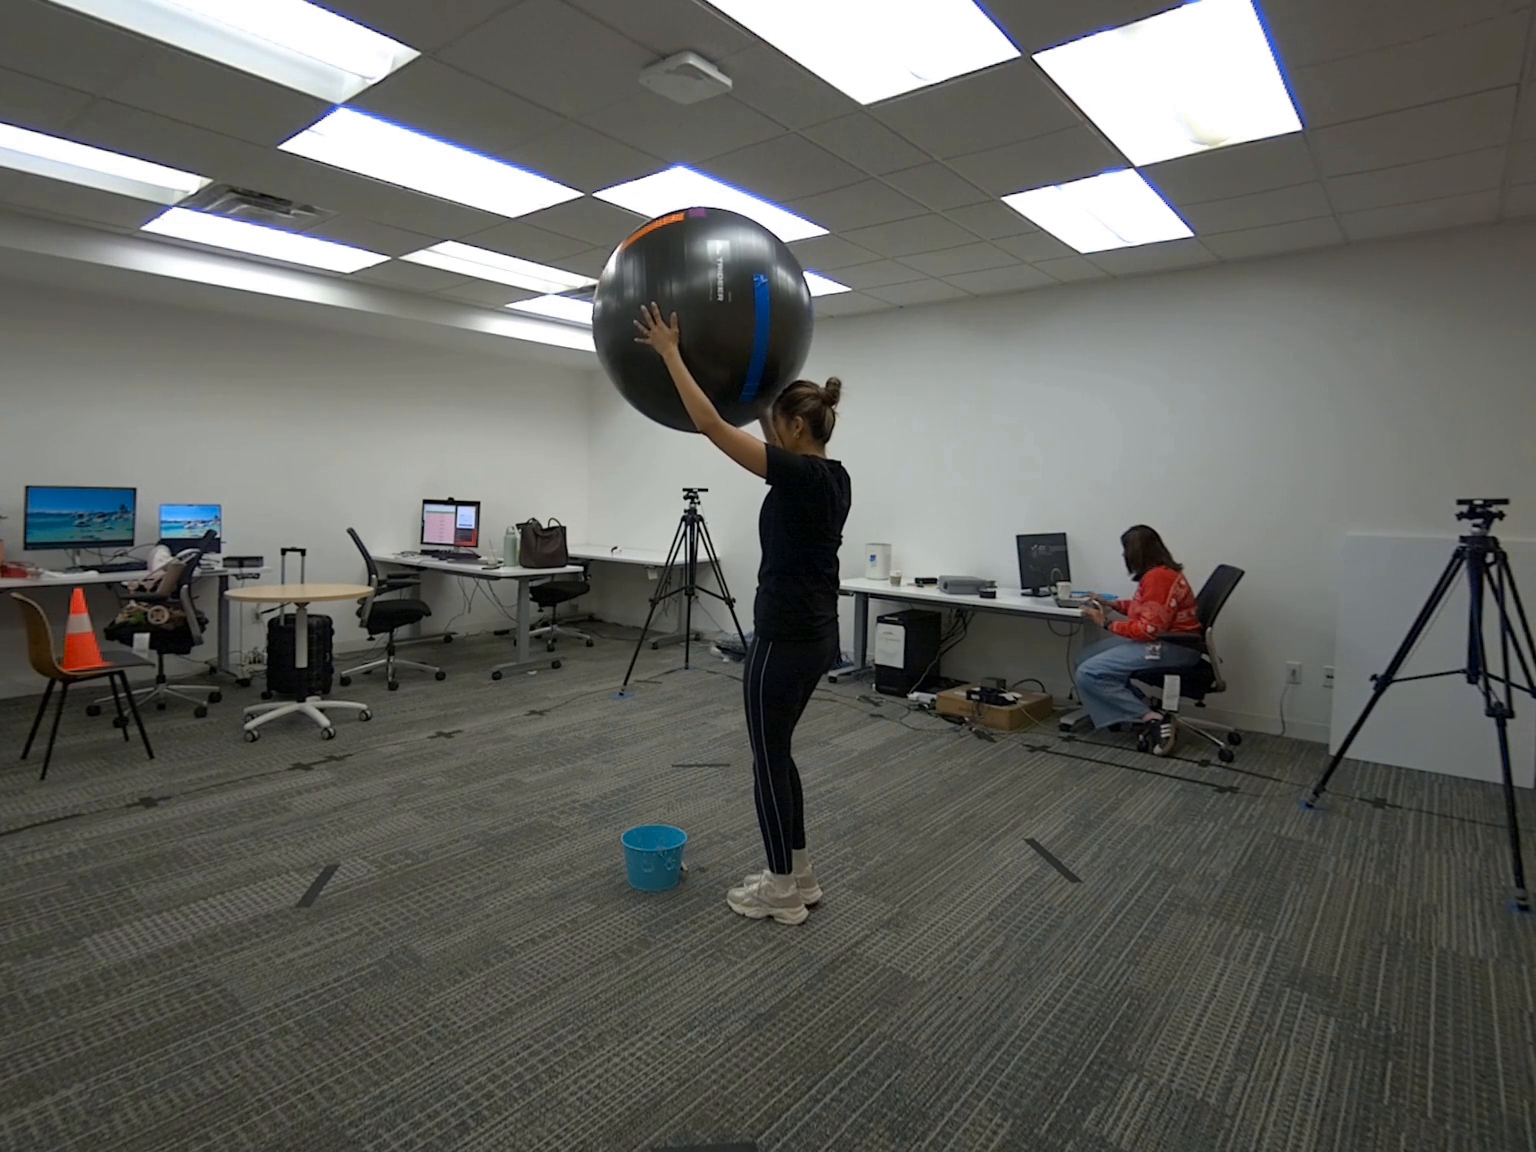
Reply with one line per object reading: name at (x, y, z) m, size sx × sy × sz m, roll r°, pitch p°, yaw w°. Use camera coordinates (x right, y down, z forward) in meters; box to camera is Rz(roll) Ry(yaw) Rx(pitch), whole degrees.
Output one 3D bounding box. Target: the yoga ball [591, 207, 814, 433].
yoga ball at (-0.232, -0.865, 2.935) m, size 0.757 × 0.755 × 0.762 m, roll 1°, pitch 4°, yaw -2°
